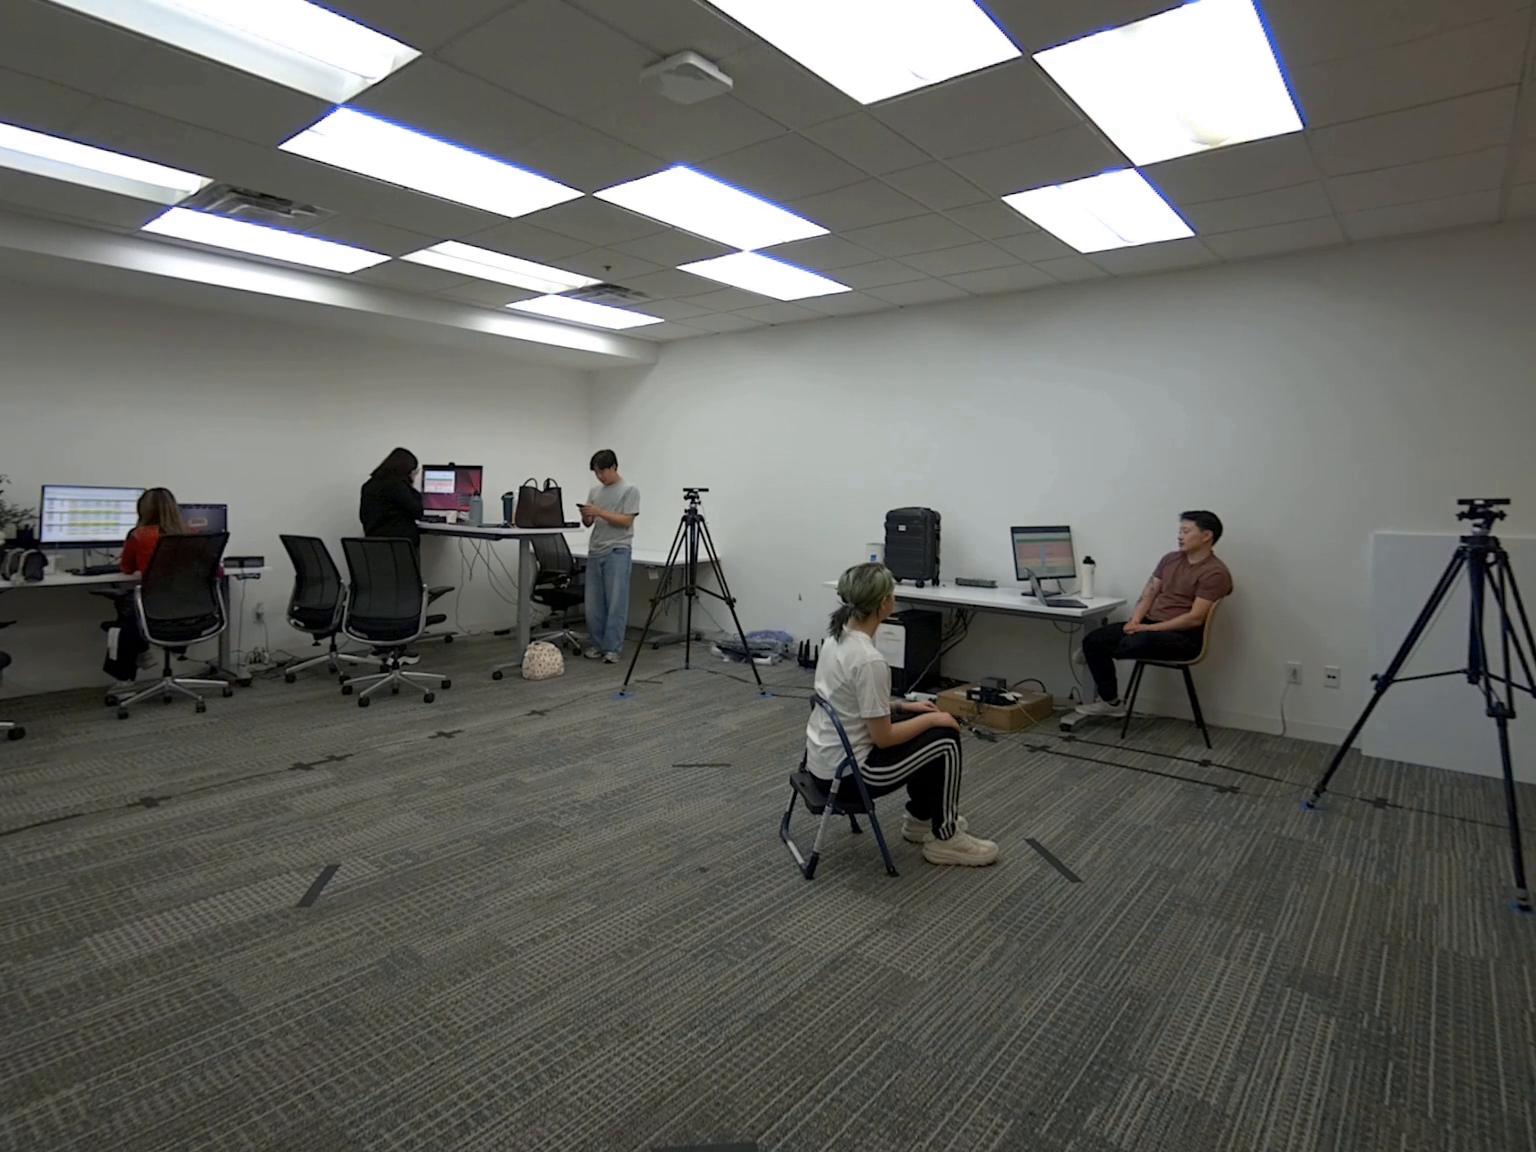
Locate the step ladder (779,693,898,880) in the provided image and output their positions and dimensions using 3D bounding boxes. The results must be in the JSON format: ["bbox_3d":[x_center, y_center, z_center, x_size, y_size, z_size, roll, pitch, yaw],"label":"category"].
[{"bbox_3d":[0.257,0.769,3.259,0.345,0.604,0.437,2,3,-12],"label":"step ladder"}]
